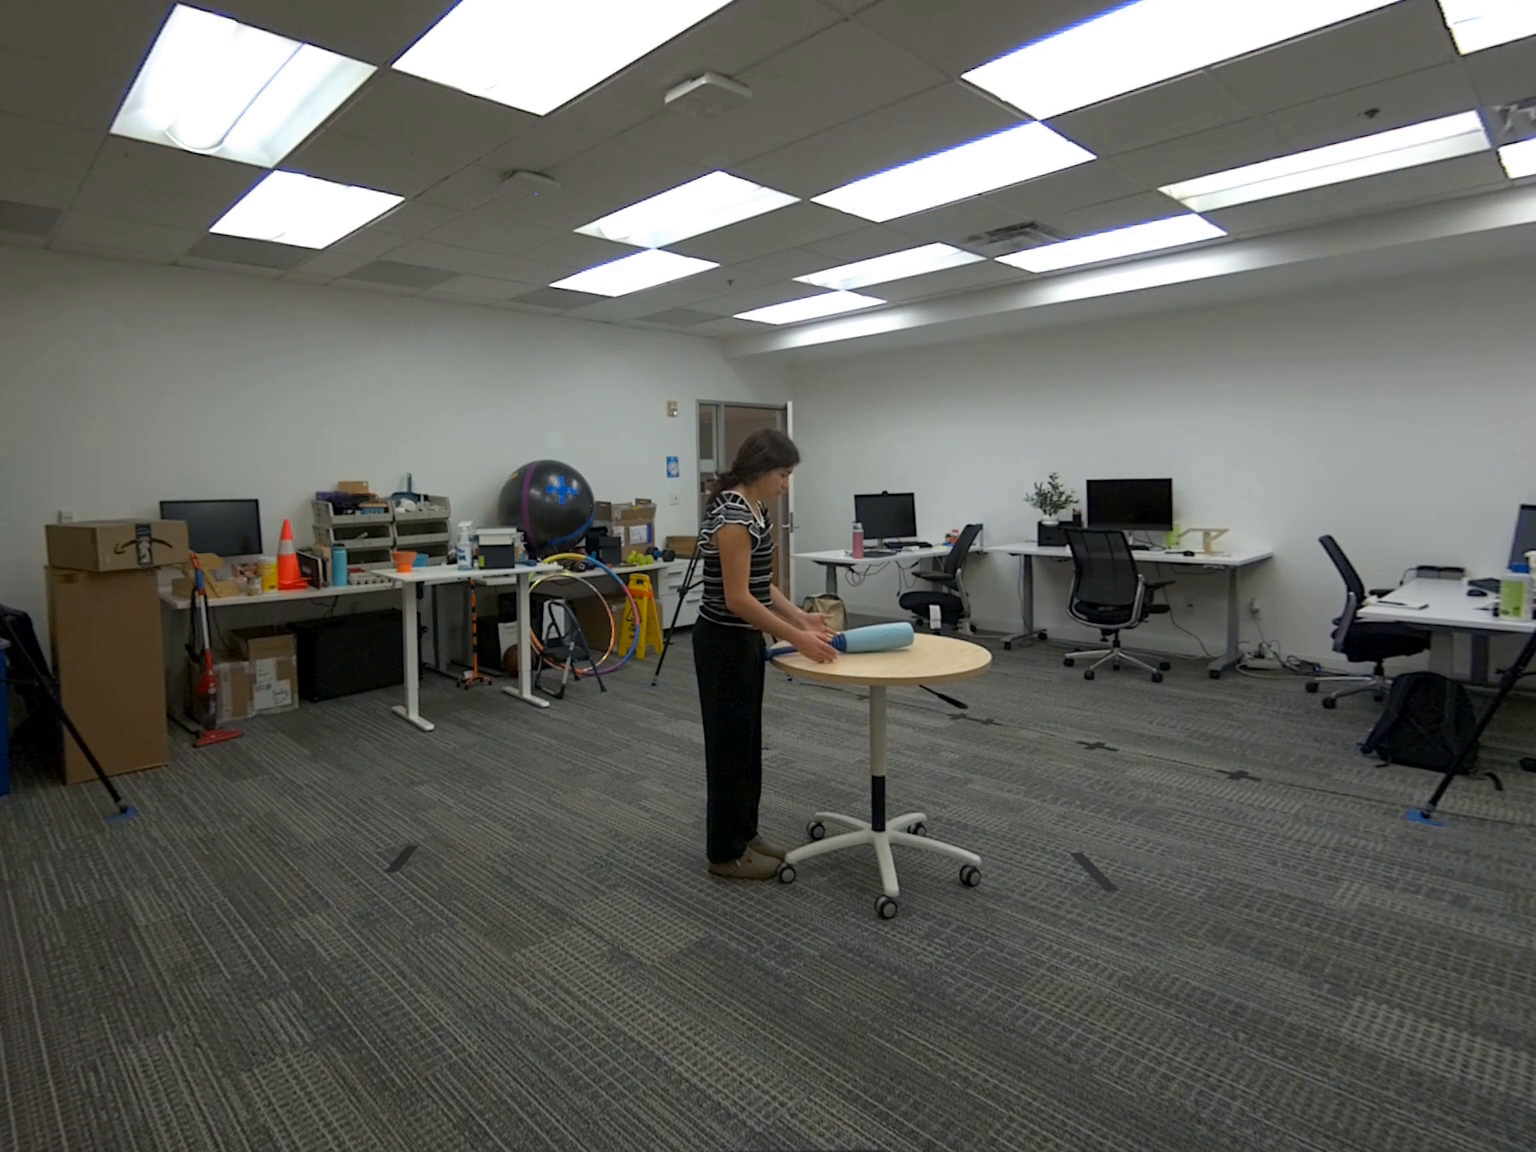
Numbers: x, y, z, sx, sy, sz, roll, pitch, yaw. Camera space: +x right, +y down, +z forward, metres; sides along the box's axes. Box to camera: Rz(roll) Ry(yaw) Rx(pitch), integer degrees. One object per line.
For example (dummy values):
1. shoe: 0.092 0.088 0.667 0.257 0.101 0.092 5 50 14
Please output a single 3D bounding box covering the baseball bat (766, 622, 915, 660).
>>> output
1. baseball bat: 0.238 0.233 2.993 0.540 0.088 0.090 -6 5 -5
